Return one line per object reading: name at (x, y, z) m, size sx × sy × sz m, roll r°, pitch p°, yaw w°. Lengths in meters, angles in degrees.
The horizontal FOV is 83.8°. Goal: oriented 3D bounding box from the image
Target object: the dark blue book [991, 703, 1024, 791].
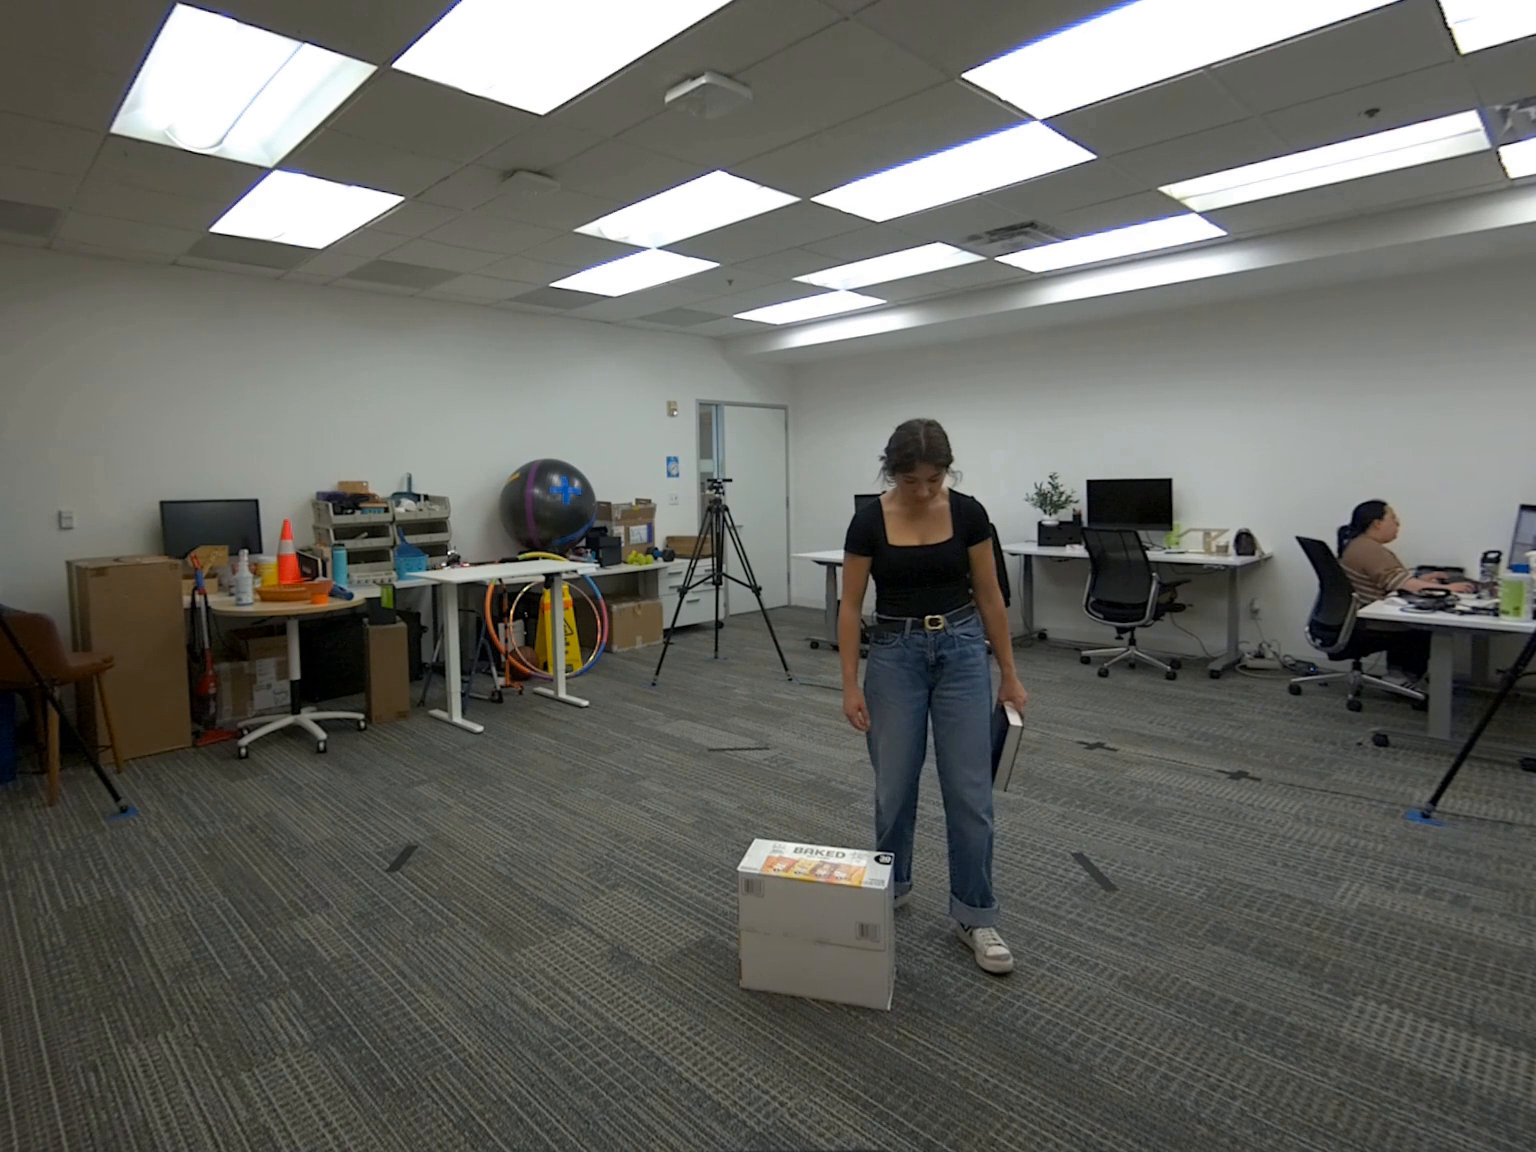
dark blue book at (0.705, 0.493, 2.542) m, size 0.045 × 0.241 × 0.166 m, roll 6°, pitch 20°, yaw -2°
